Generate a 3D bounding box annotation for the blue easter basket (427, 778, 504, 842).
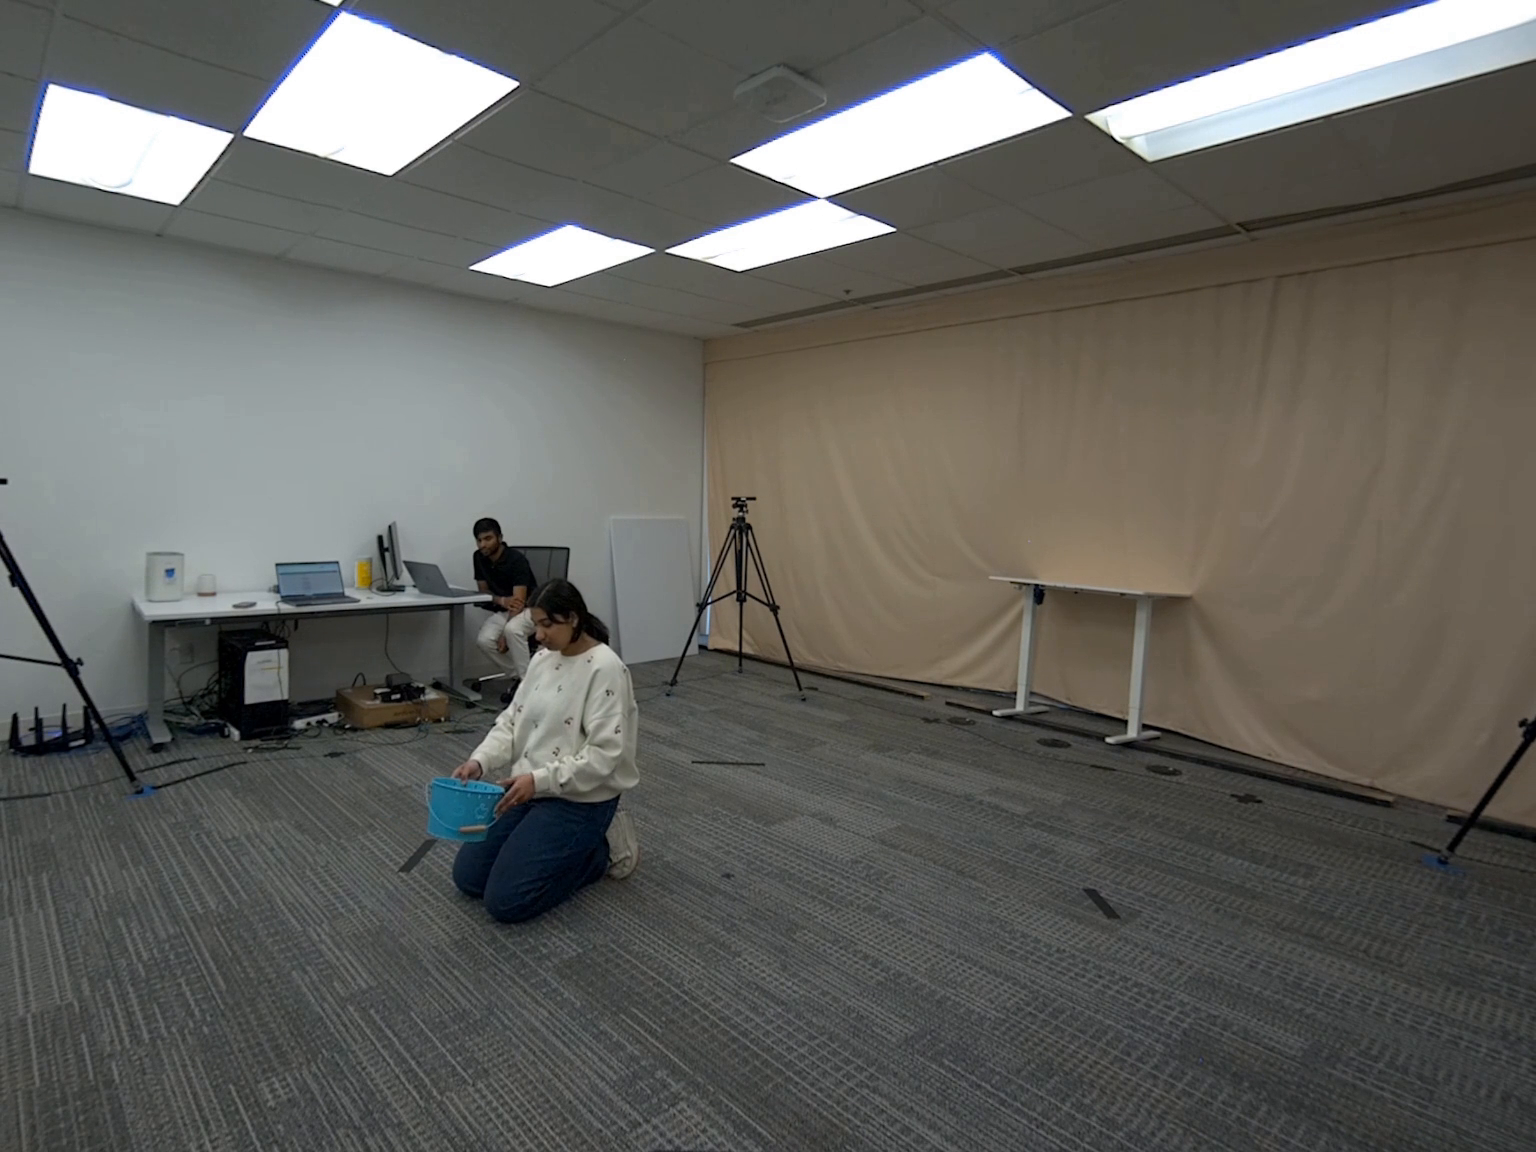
[{"bbox_3d":[-0.972,0.731,2.613,0.244,0.157,0.242,9,-10,0],"label":"blue easter basket"}]
